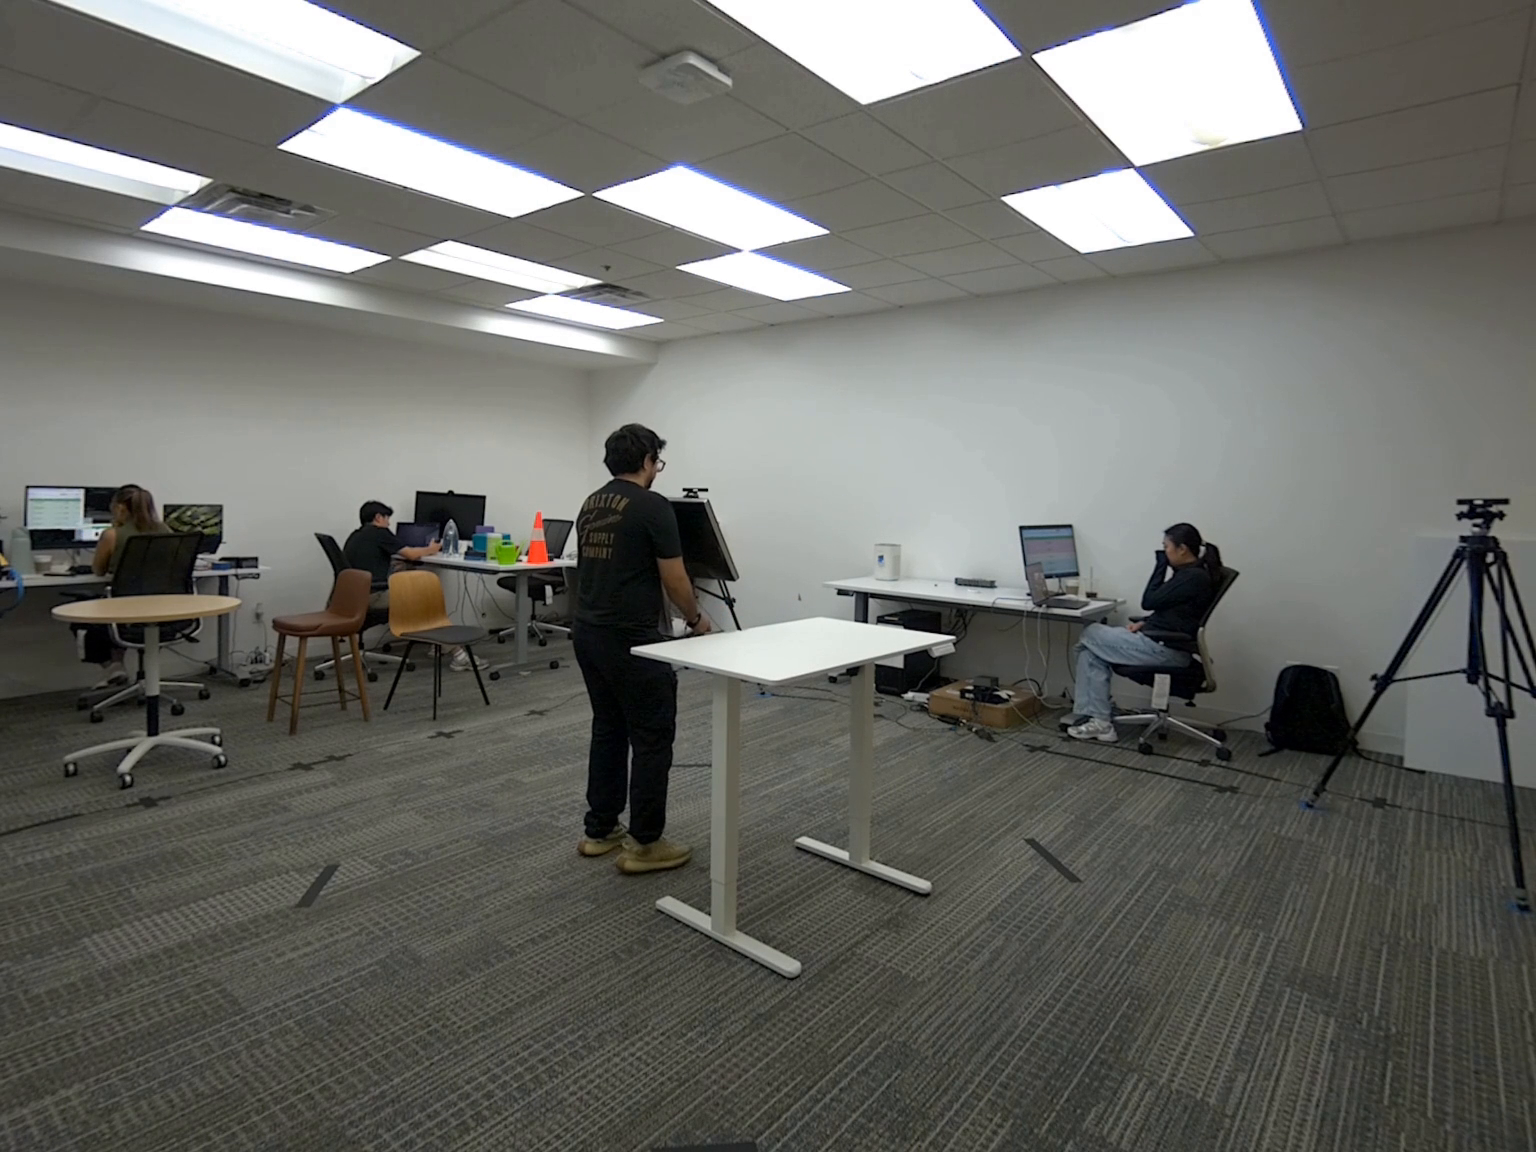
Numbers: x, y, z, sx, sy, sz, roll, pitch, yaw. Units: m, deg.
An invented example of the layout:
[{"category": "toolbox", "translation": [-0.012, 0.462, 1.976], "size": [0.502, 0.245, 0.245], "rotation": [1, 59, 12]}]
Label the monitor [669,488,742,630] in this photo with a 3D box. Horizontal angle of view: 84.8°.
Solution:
[{"category": "monitor", "translation": [-0.419, -0.039, 3.373], "size": [0.584, 0.541, 0.208], "rotation": [4, 28, 40]}]
